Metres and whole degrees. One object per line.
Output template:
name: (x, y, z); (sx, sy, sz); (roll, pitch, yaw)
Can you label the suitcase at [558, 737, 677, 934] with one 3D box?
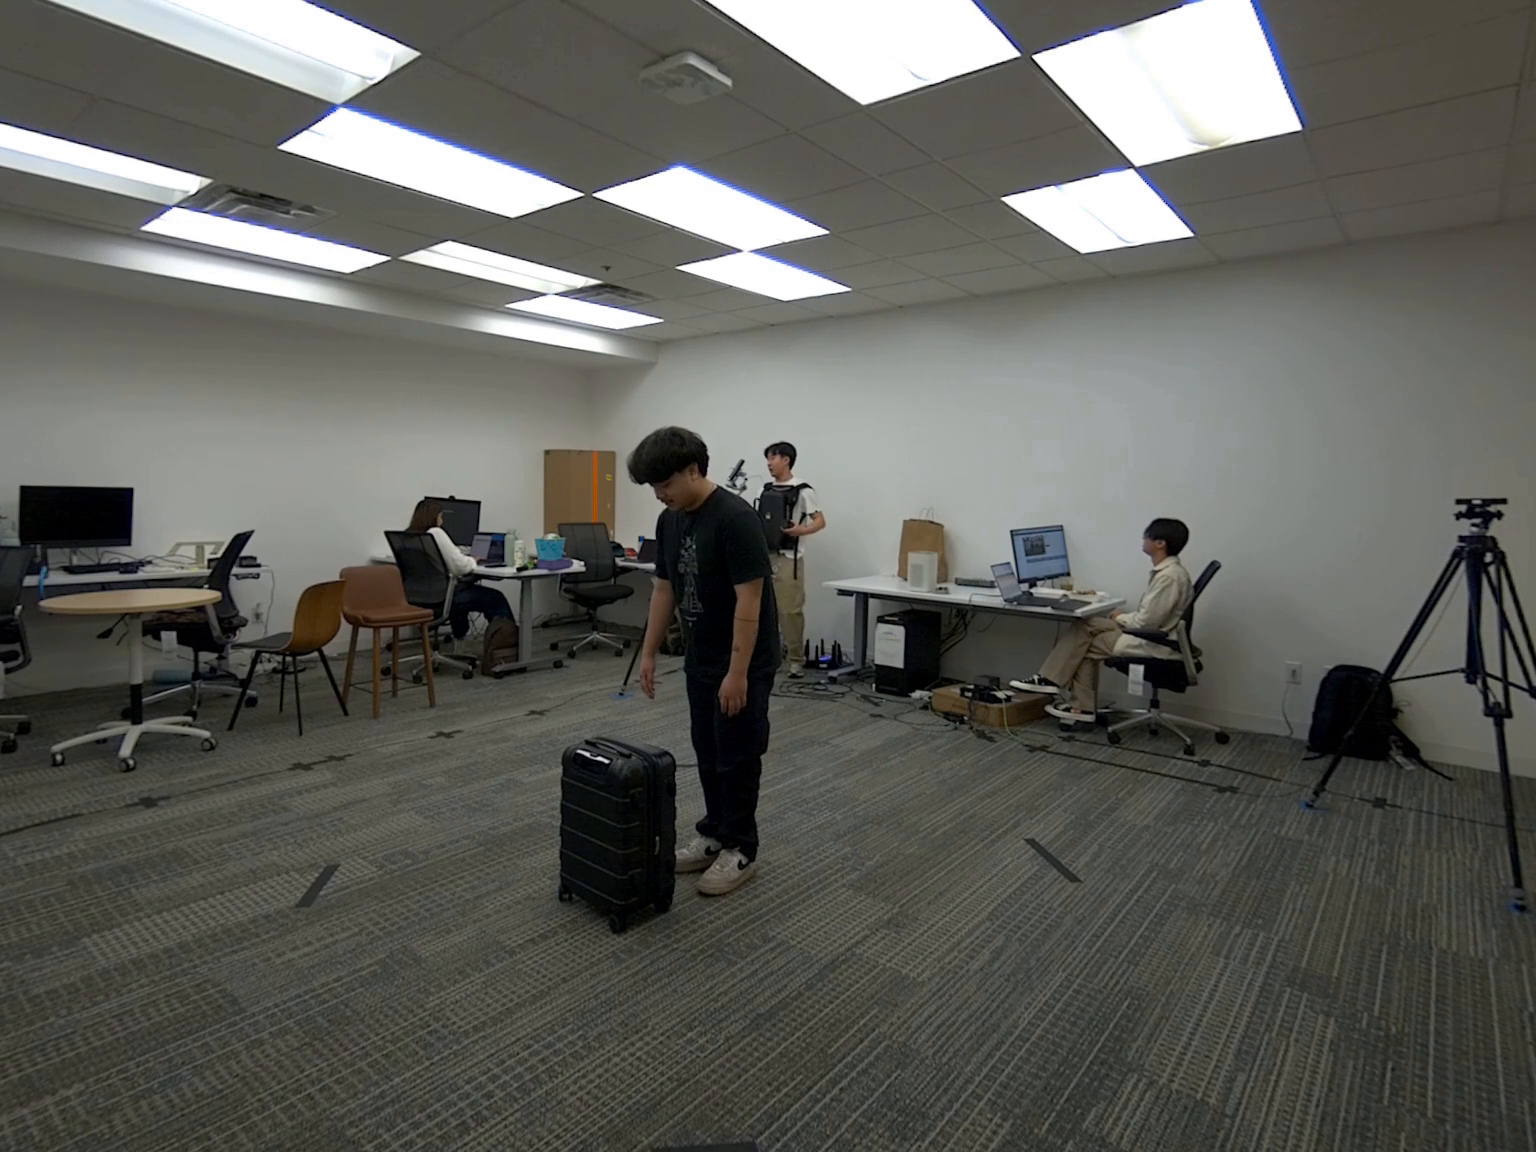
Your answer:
suitcase: (-0.510, 0.816, 2.808); (0.388, 0.548, 0.241); (4, 4, 42)
